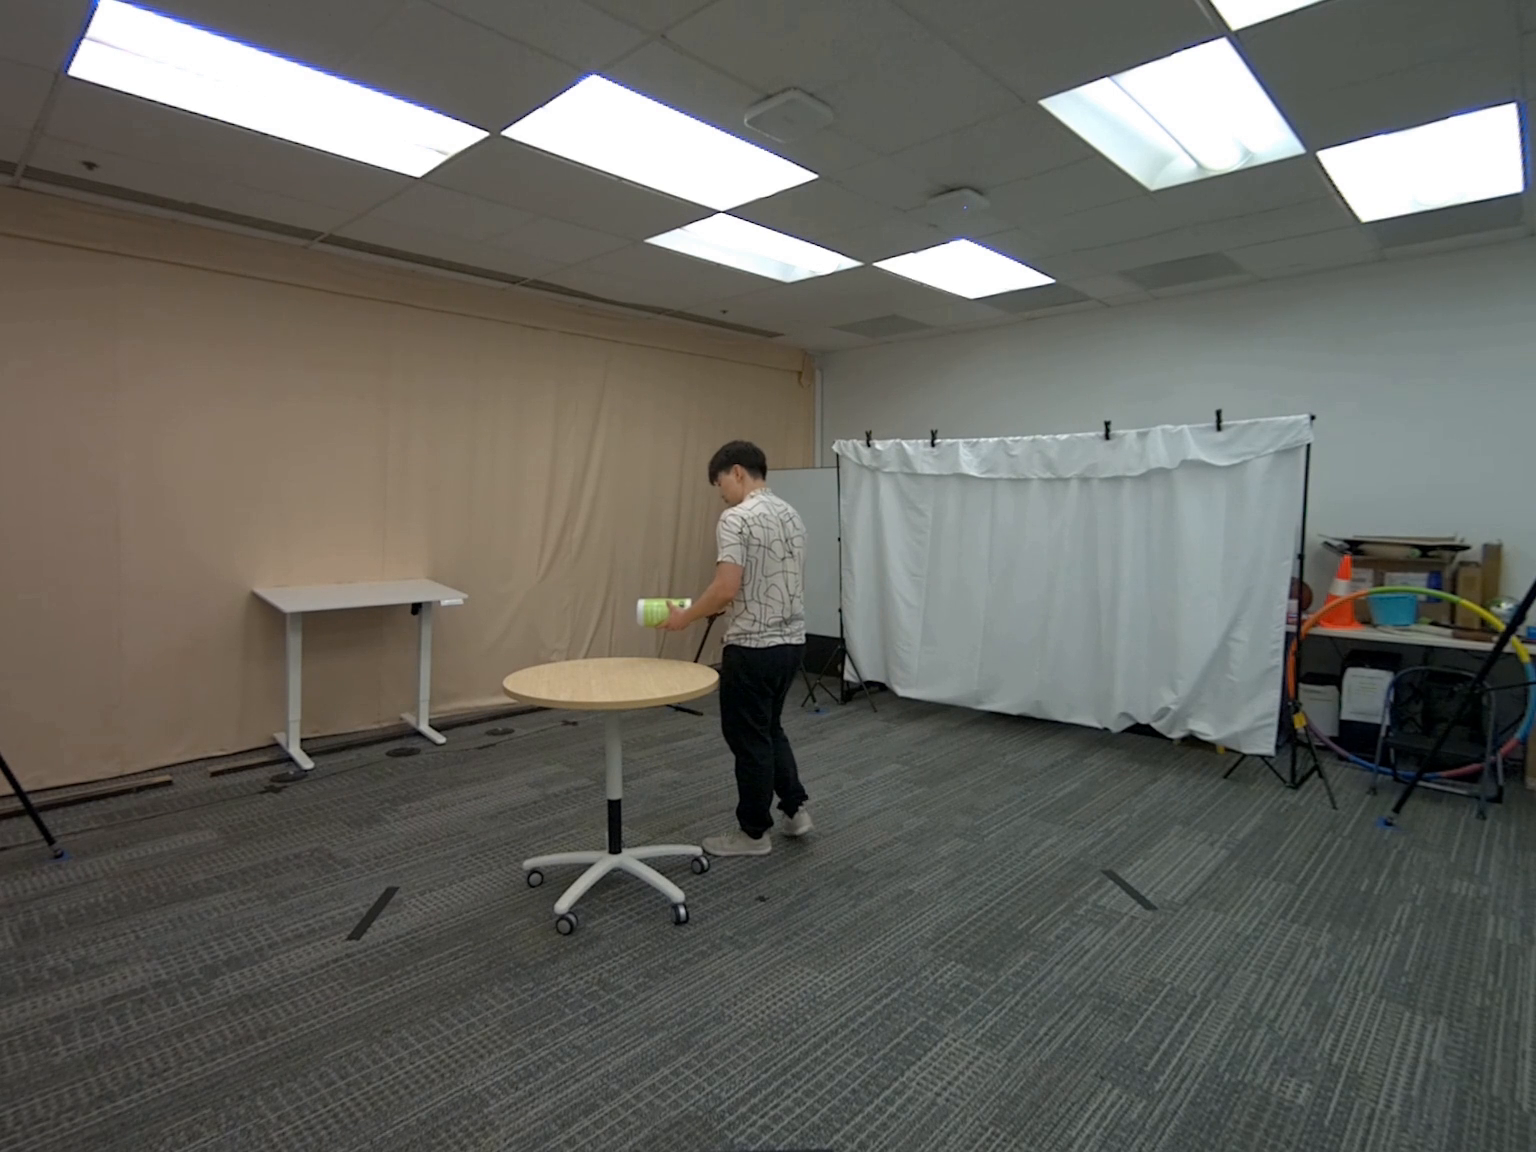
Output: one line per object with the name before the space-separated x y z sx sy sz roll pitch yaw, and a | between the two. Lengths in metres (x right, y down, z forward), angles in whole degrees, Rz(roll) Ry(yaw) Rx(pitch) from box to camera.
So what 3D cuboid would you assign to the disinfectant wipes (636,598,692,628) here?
disinfectant wipes | -0.399 0.150 3.351 0.218 0.117 0.117 1 4 3
